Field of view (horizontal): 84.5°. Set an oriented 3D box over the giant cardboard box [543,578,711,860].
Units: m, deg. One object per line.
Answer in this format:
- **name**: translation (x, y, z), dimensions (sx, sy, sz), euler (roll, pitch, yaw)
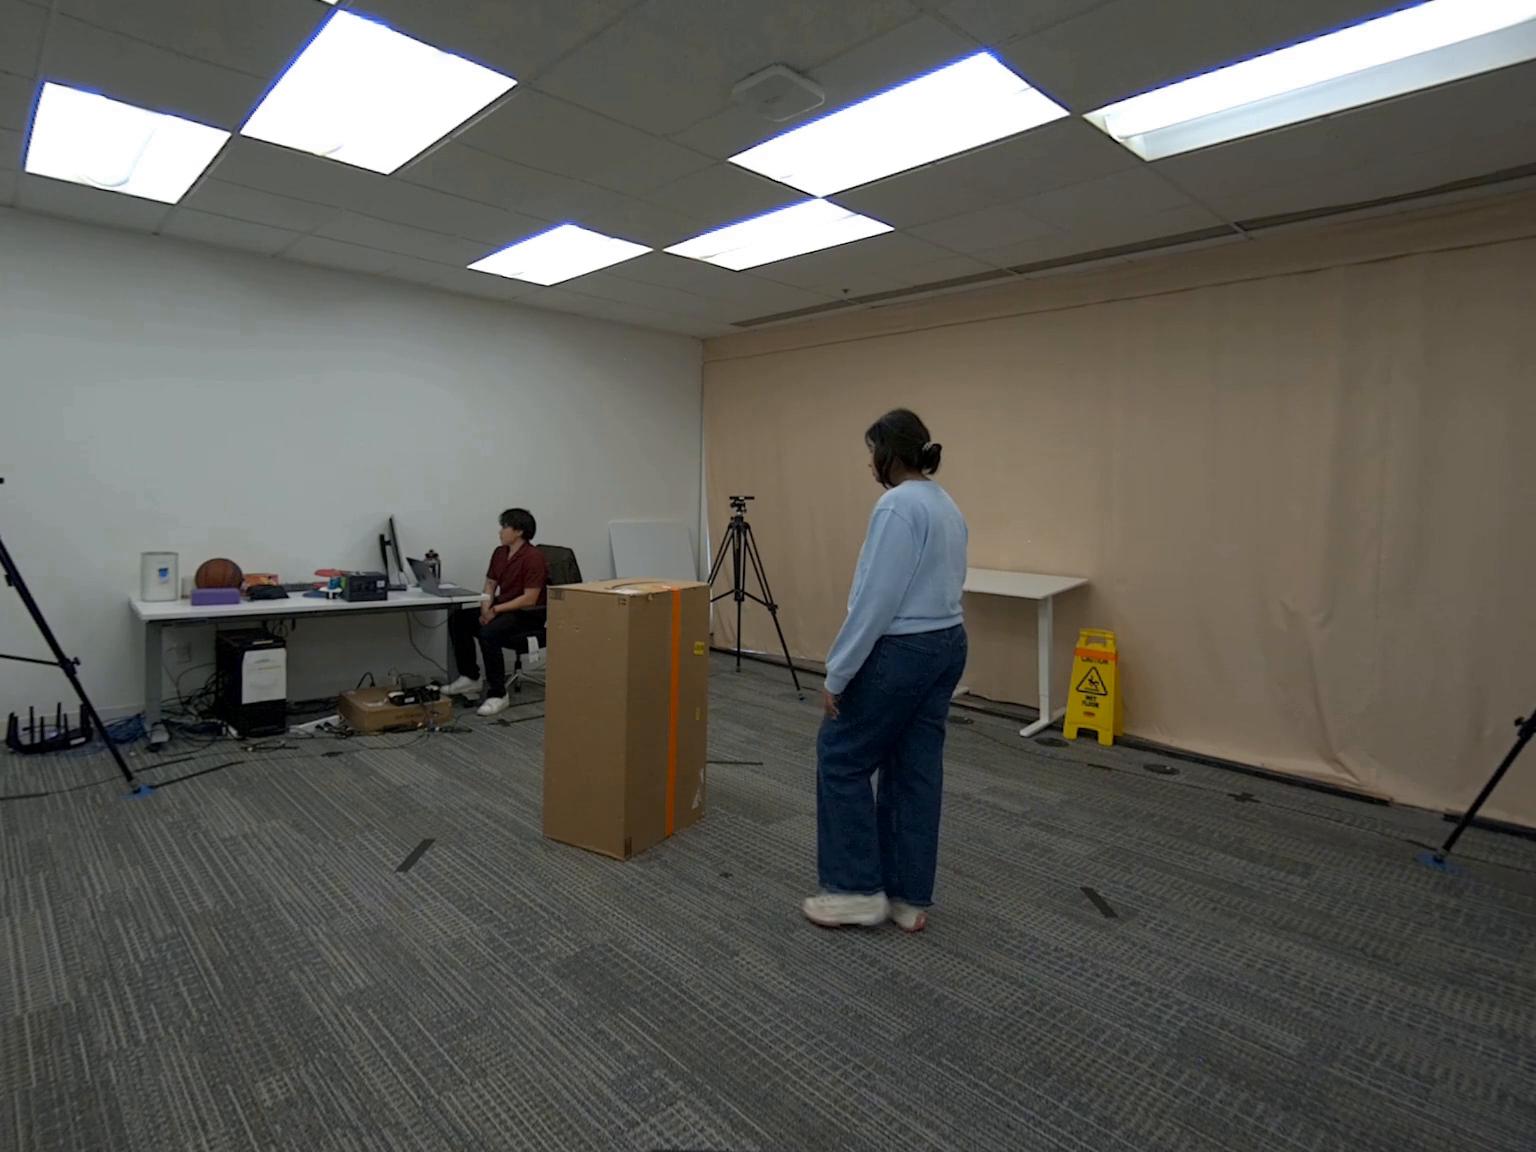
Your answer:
- **giant cardboard box**: translation (-0.587, 0.545, 3.529), dimensions (0.457, 1.025, 0.572), euler (4, 4, 31)
